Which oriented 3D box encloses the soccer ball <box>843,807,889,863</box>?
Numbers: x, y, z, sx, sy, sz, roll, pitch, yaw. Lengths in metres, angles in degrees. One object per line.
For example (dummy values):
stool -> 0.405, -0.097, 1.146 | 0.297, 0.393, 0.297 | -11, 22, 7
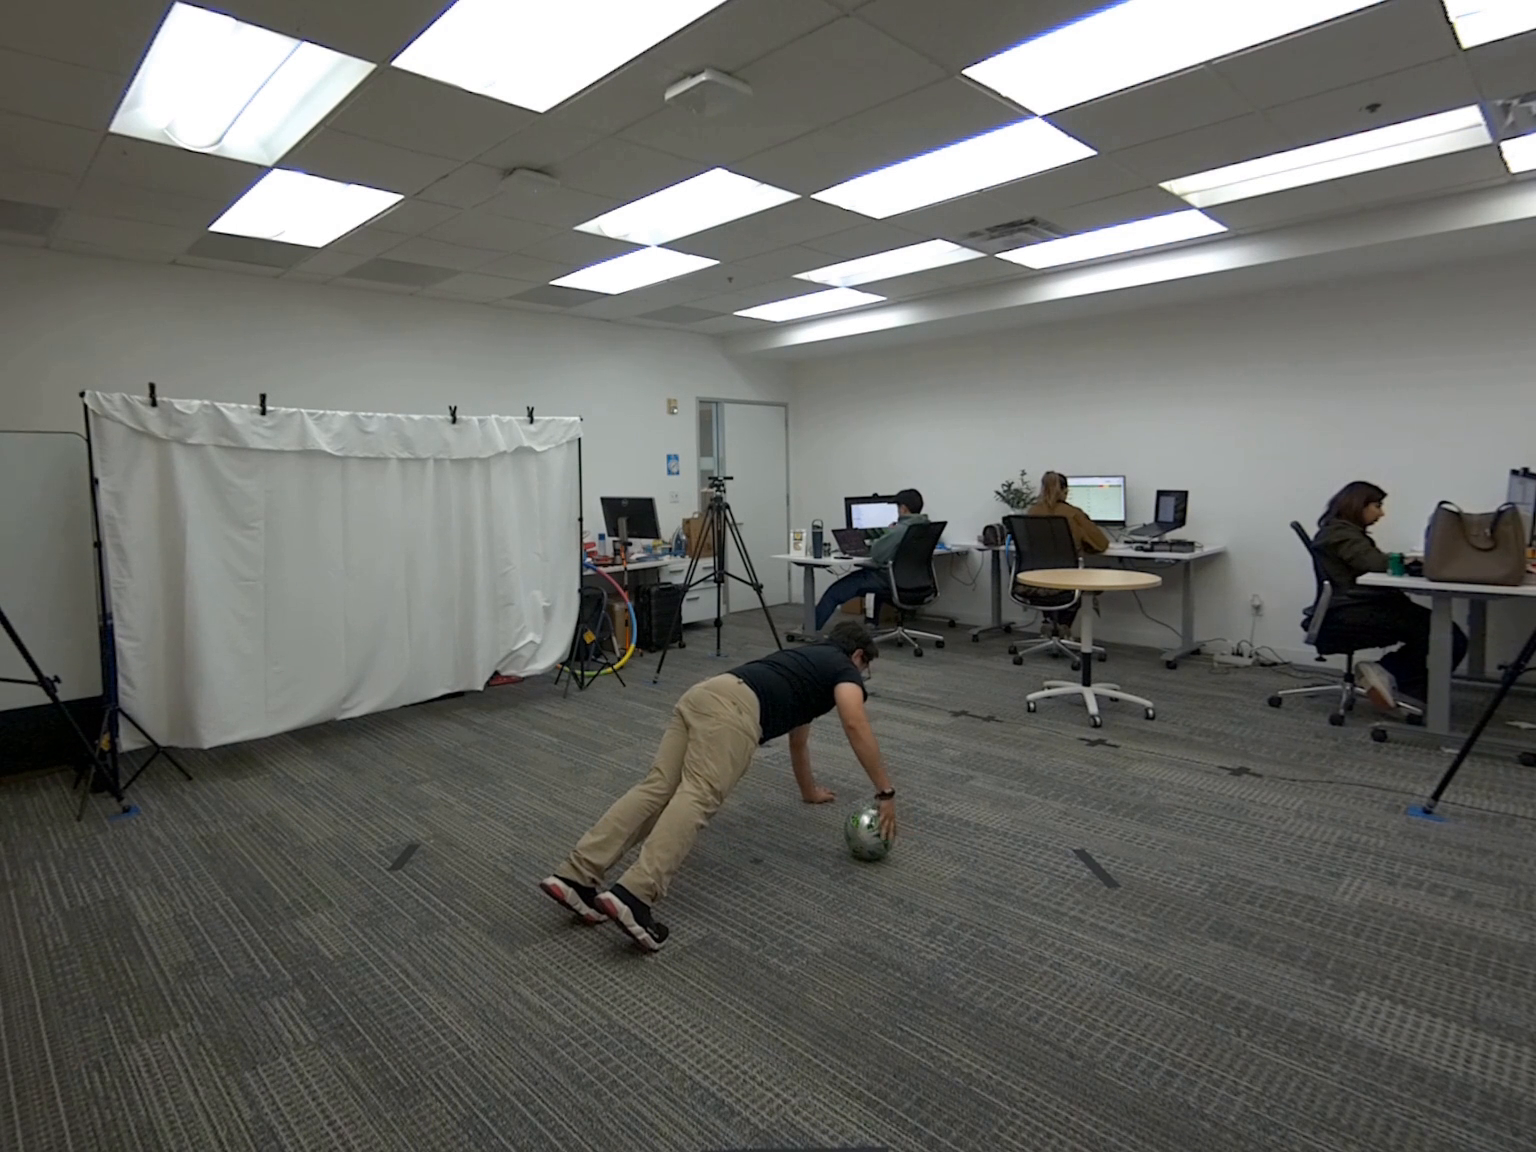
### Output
soccer ball -> 0.364, 0.927, 3.114 | 0.187, 0.187, 0.188 | -1, 5, -2
